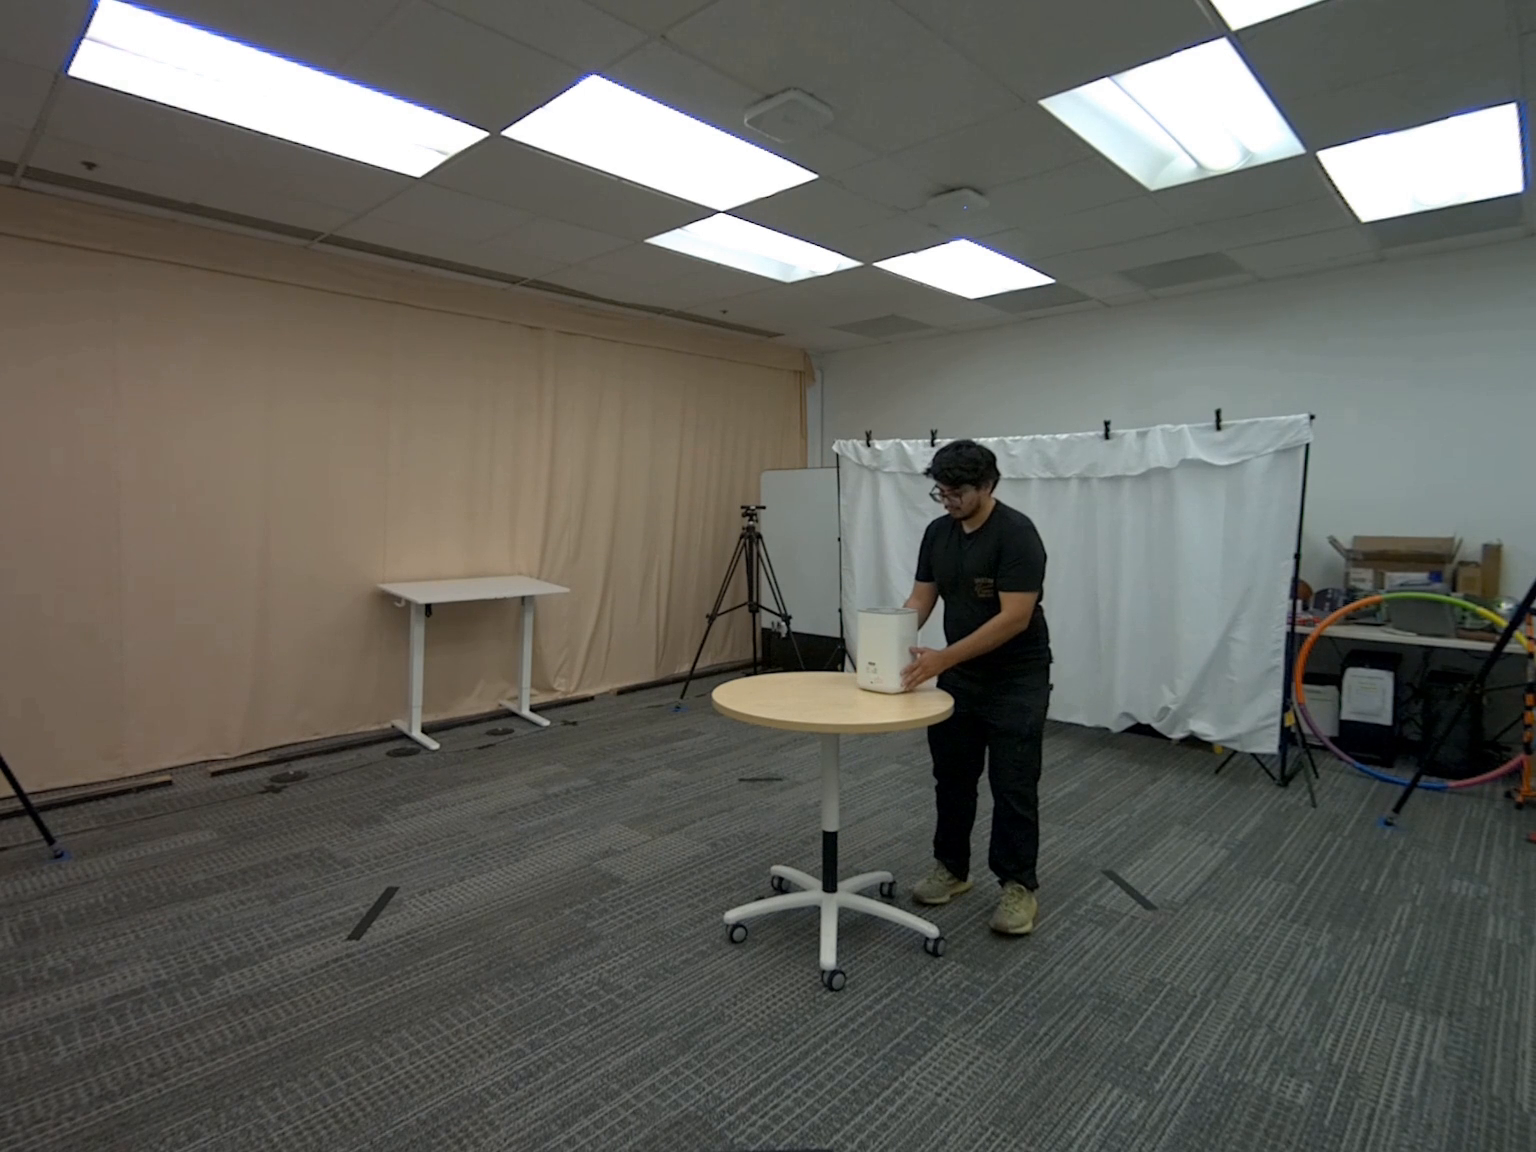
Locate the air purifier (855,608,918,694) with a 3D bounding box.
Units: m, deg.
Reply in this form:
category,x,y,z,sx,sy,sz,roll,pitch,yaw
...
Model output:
category,x,y,z,sx,sy,sz,roll,pitch,yaw
air purifier,0.409,0.246,2.779,0.177,0.265,0.166,3,4,39
